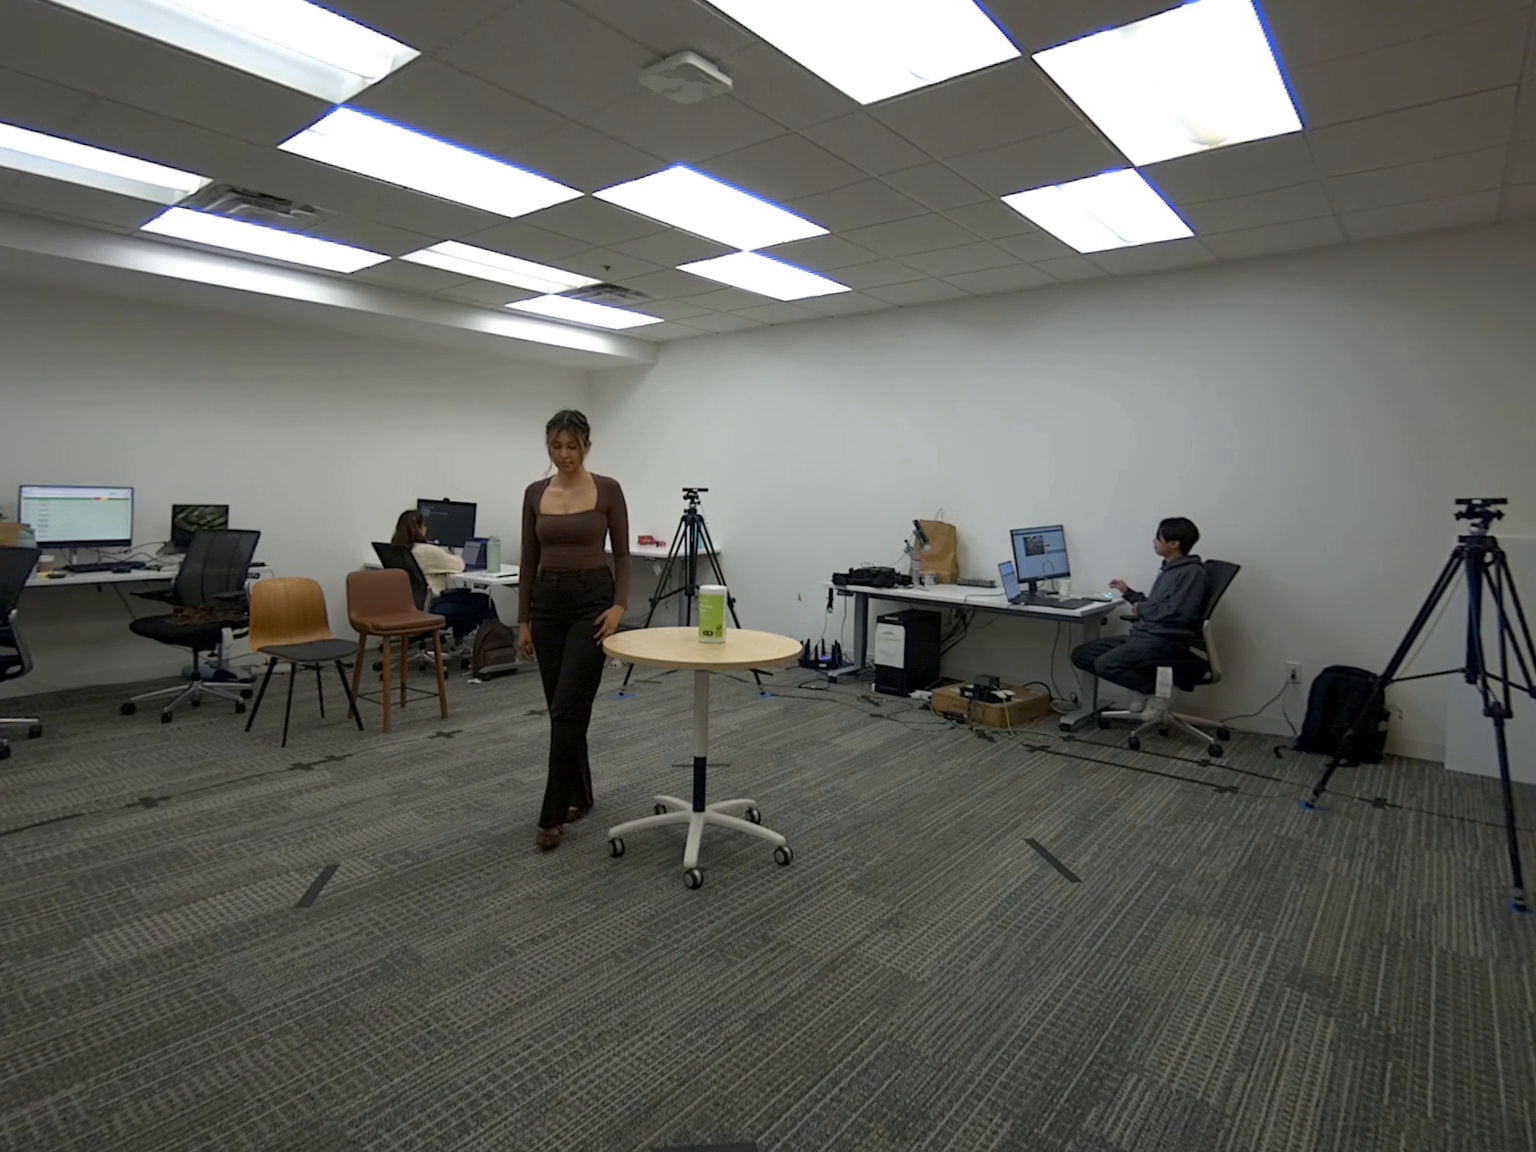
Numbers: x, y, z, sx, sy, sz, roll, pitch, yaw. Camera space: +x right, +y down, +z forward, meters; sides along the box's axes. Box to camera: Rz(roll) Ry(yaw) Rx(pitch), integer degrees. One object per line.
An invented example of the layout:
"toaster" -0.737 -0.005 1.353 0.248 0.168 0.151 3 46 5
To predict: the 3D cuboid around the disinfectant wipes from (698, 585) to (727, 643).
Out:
"disinfectant wipes" -0.227 0.147 3.320 0.117 0.217 0.118 2 3 -2
